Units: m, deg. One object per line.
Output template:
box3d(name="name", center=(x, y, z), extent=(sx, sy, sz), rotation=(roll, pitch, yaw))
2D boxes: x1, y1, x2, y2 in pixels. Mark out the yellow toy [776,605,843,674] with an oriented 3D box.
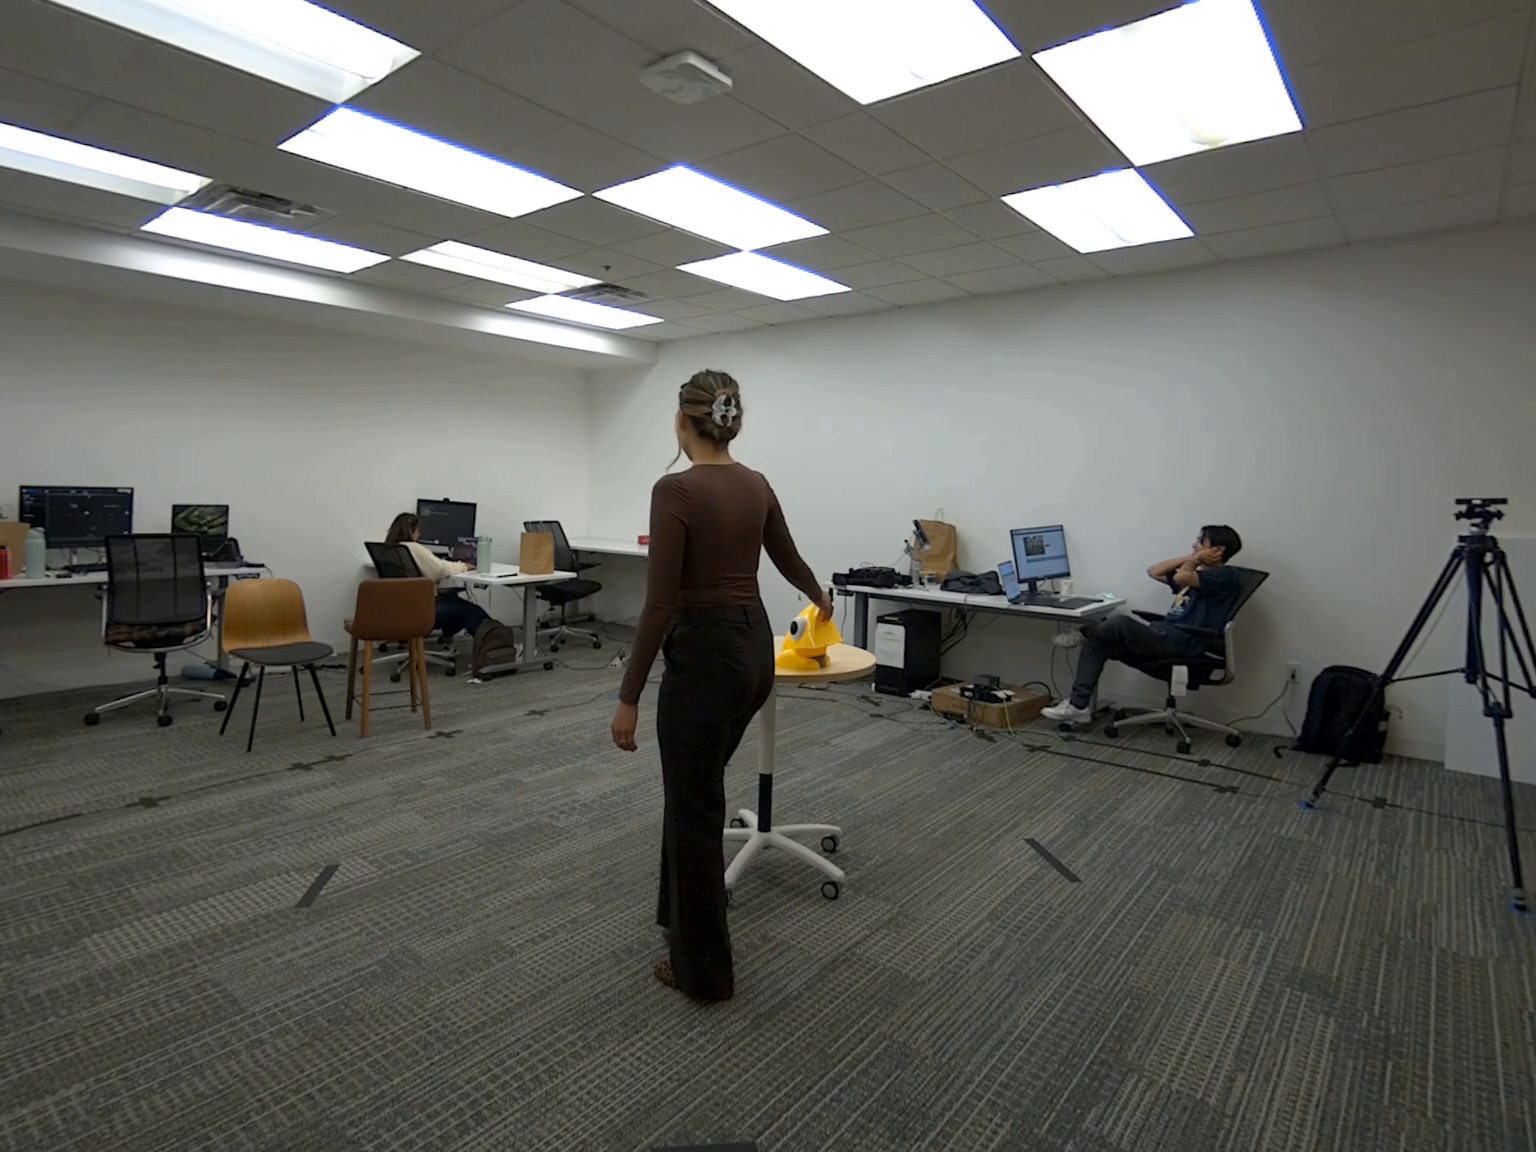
box3d(name="yellow toy", center=(0.125, 0.187, 2.897), extent=(0.199, 0.230, 0.199), rotation=(3, 4, 33))
